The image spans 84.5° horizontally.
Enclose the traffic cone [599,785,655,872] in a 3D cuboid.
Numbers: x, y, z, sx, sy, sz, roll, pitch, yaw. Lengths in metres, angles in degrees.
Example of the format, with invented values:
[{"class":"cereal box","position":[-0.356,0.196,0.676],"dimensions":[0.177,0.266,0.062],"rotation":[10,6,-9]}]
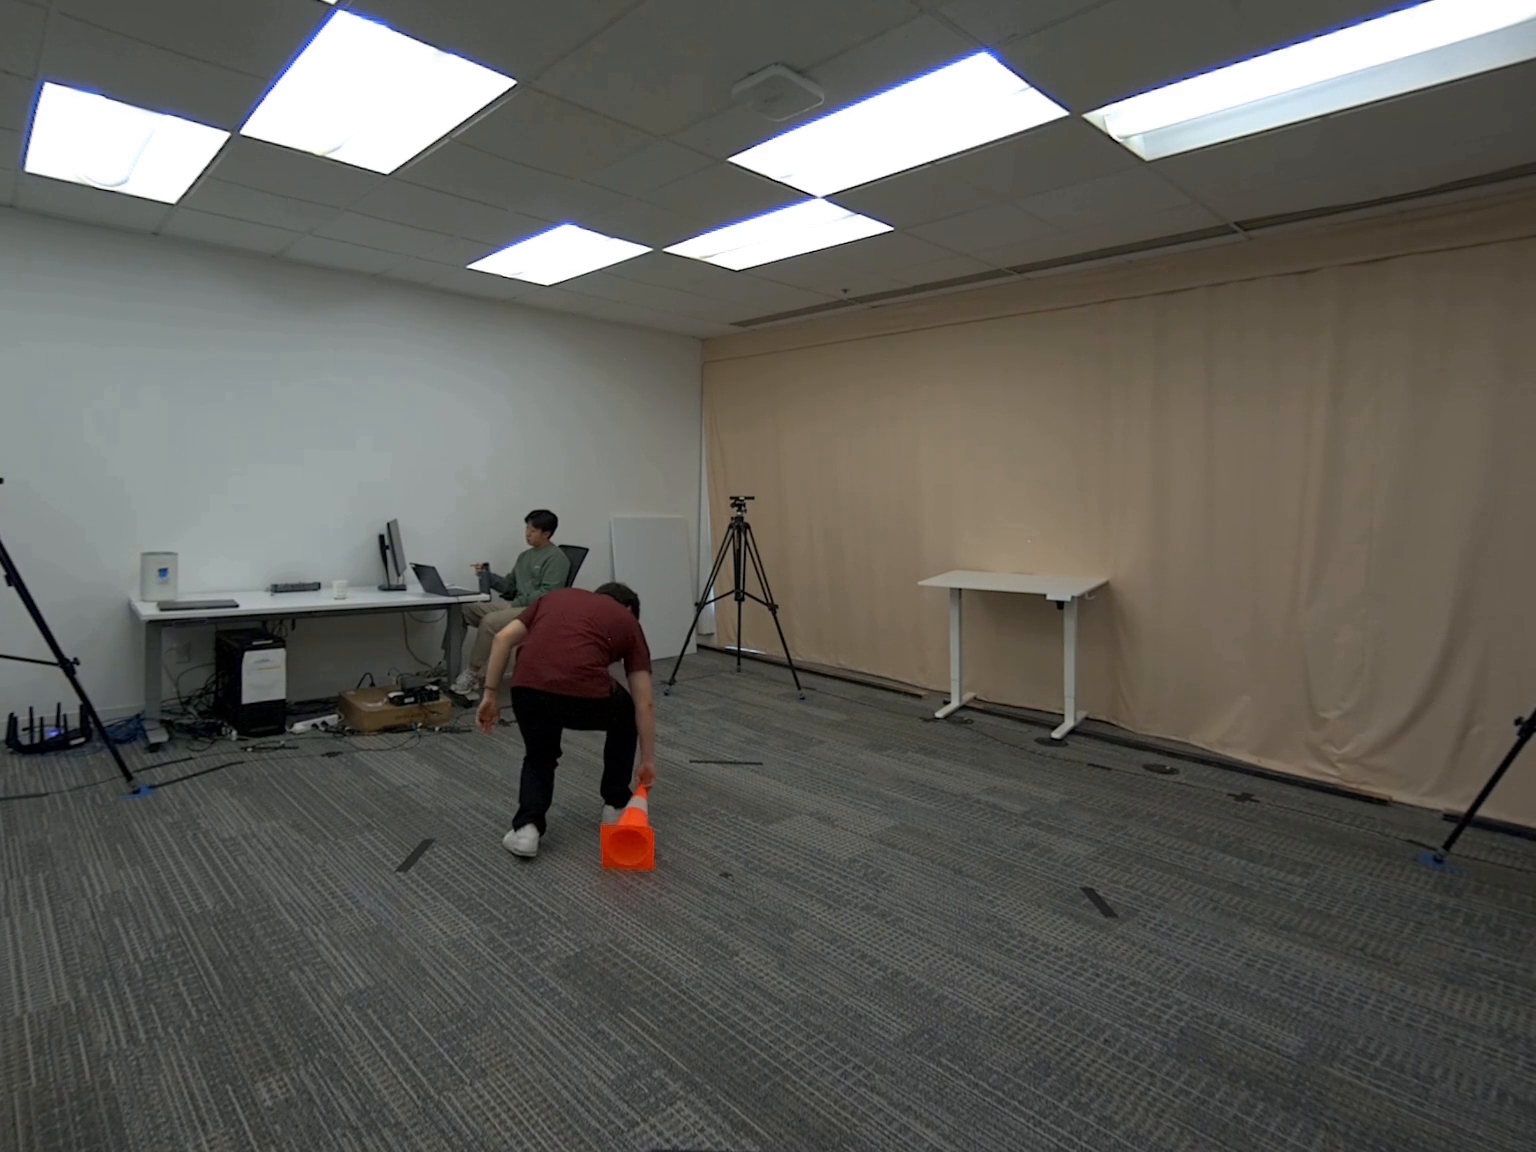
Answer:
[{"class":"traffic cone","position":[-0.532,0.942,3.274],"dimensions":[0.205,0.201,0.388],"rotation":[-3,17,0]}]
